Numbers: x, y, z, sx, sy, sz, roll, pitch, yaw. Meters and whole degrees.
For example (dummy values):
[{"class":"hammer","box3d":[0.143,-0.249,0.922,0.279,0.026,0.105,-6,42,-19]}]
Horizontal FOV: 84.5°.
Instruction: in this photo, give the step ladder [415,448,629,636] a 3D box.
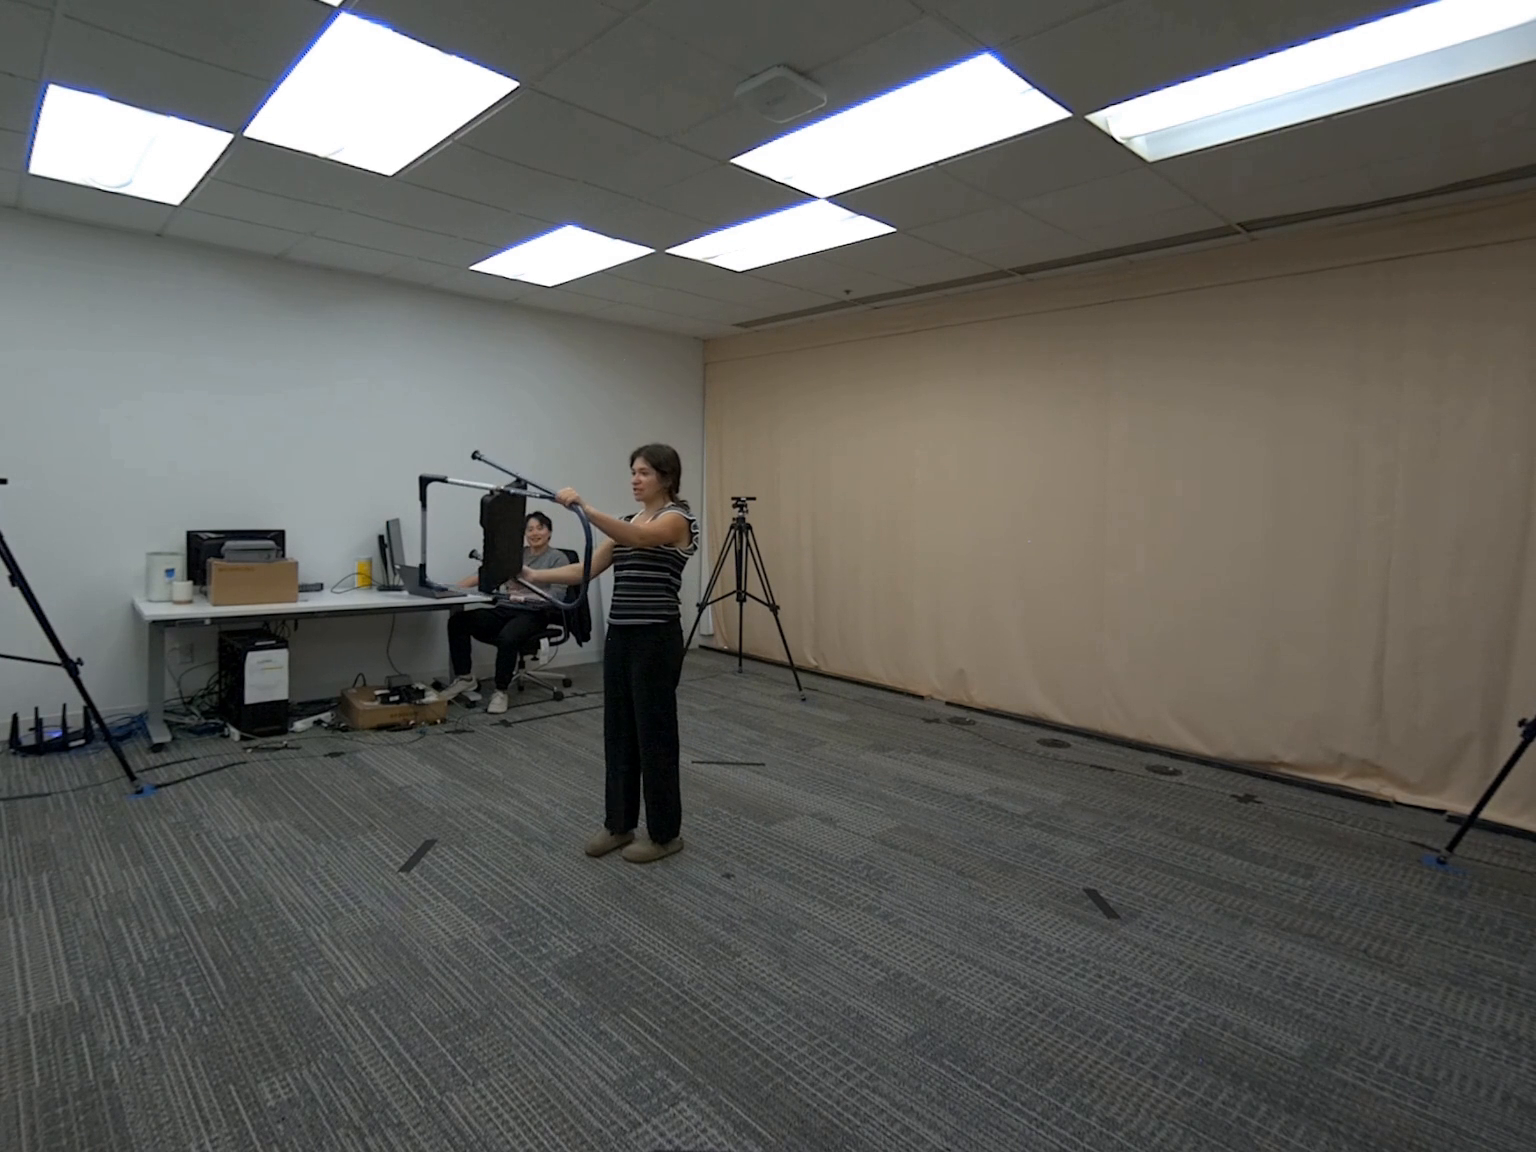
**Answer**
[{"class":"step ladder","box3d":[-0.853,-0.136,2.940,0.614,0.425,0.349,14,25,14]}]
